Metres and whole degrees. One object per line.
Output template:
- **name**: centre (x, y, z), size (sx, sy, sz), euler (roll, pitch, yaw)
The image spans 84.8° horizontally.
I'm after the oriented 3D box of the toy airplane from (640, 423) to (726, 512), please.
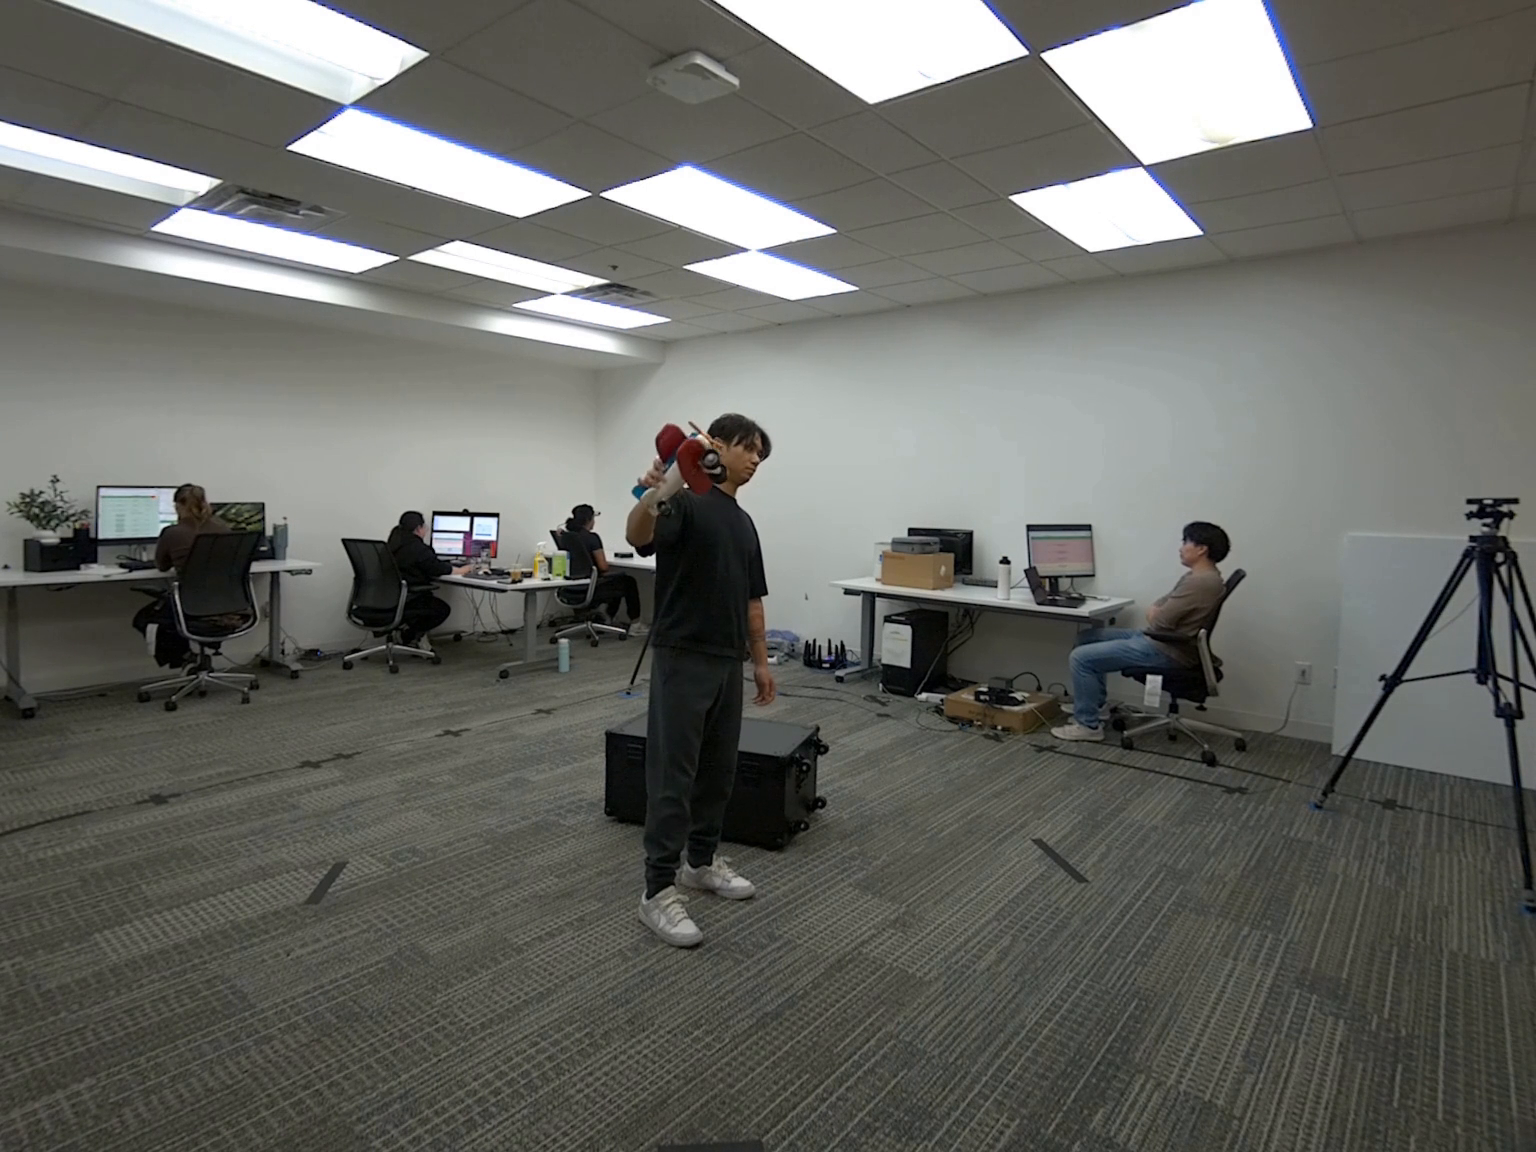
- **toy airplane**: centre (-0.251, -0.277, 2.267), size (0.255, 0.162, 0.246), euler (-24, -29, -28)
